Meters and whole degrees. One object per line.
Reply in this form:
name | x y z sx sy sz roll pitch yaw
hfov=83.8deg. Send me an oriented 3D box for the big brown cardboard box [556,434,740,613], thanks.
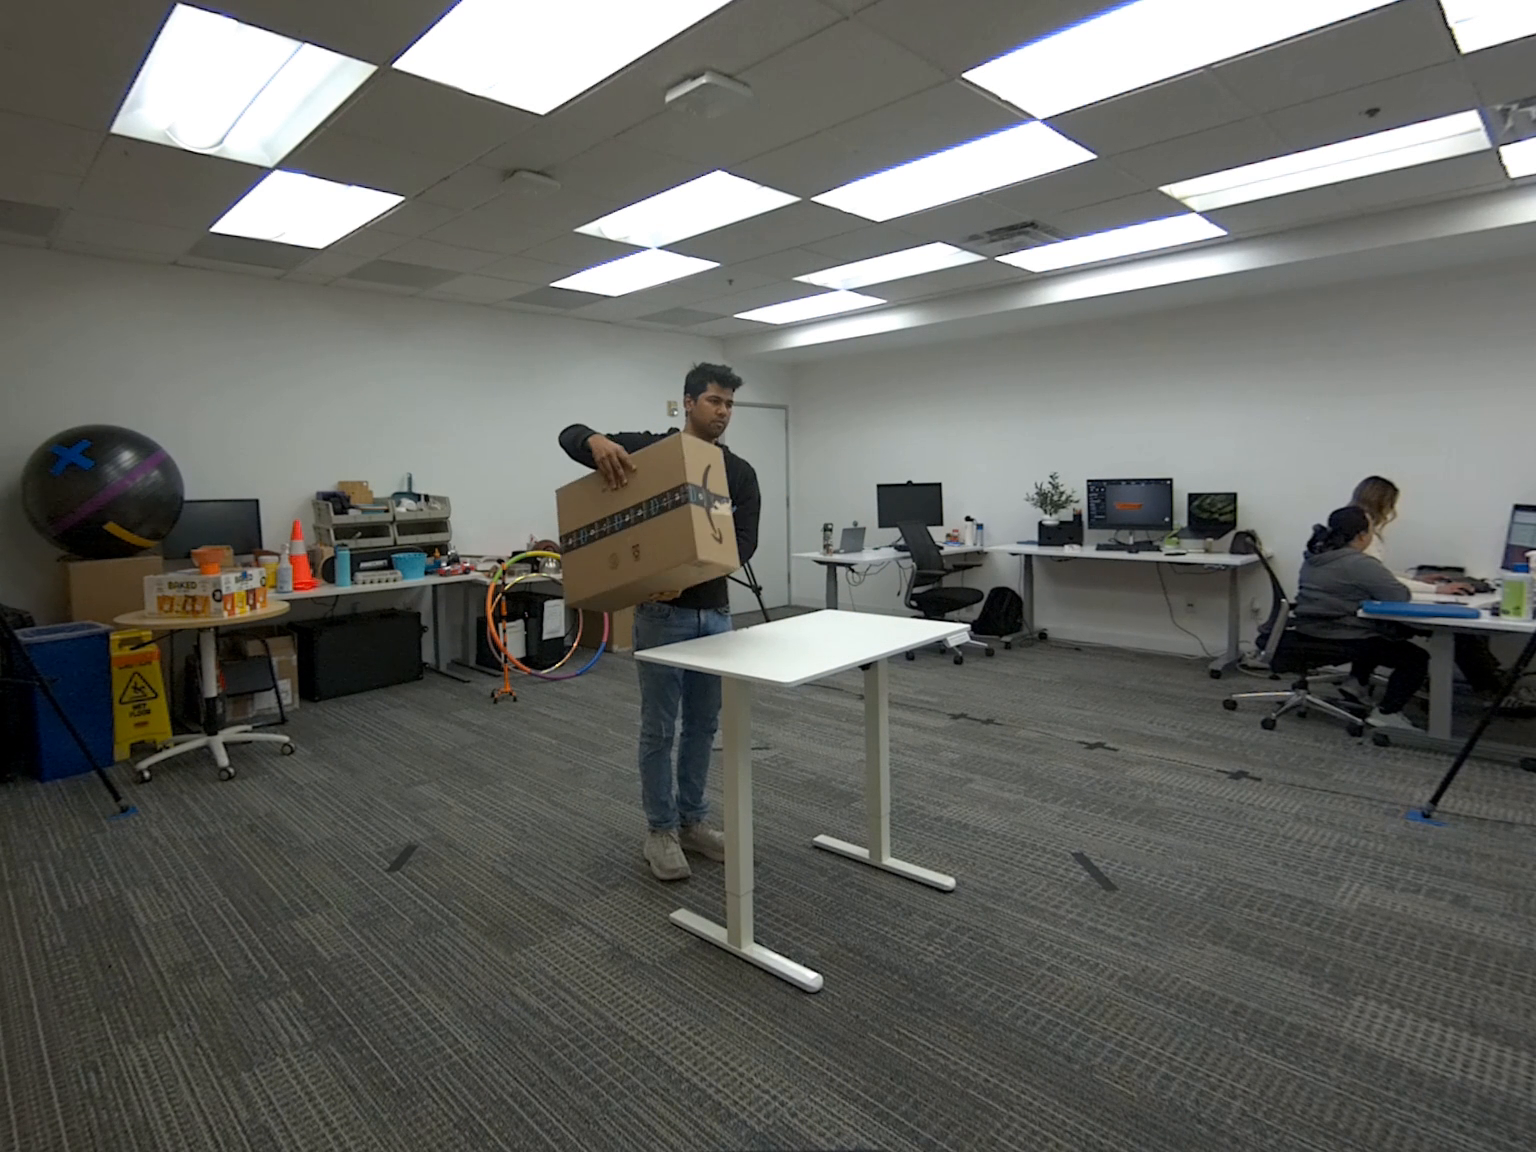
big brown cardboard box | -0.400 -0.157 2.776 0.599 0.425 0.225 -19 -20 32
